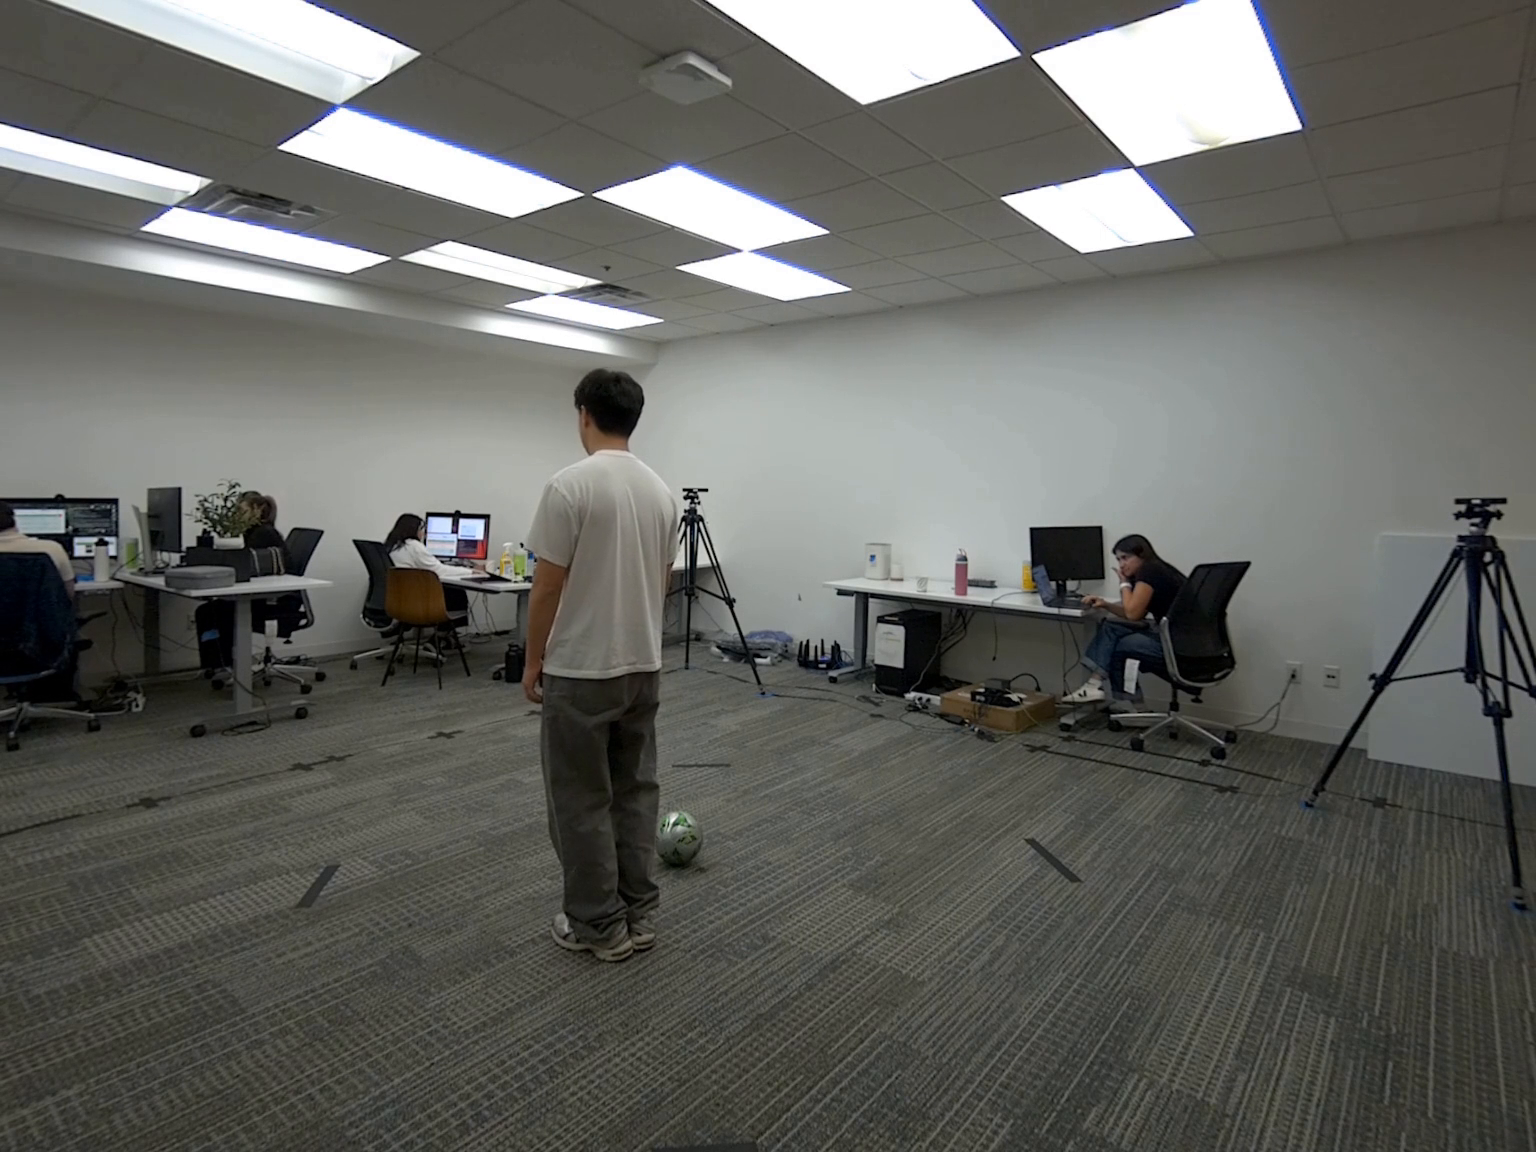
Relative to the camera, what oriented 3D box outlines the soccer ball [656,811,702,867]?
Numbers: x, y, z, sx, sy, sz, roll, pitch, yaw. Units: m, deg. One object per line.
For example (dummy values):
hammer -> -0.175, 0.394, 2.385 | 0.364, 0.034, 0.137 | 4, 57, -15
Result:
soccer ball -> -0.332, 0.964, 3.166 | 0.187, 0.187, 0.188 | 1, 4, -2
